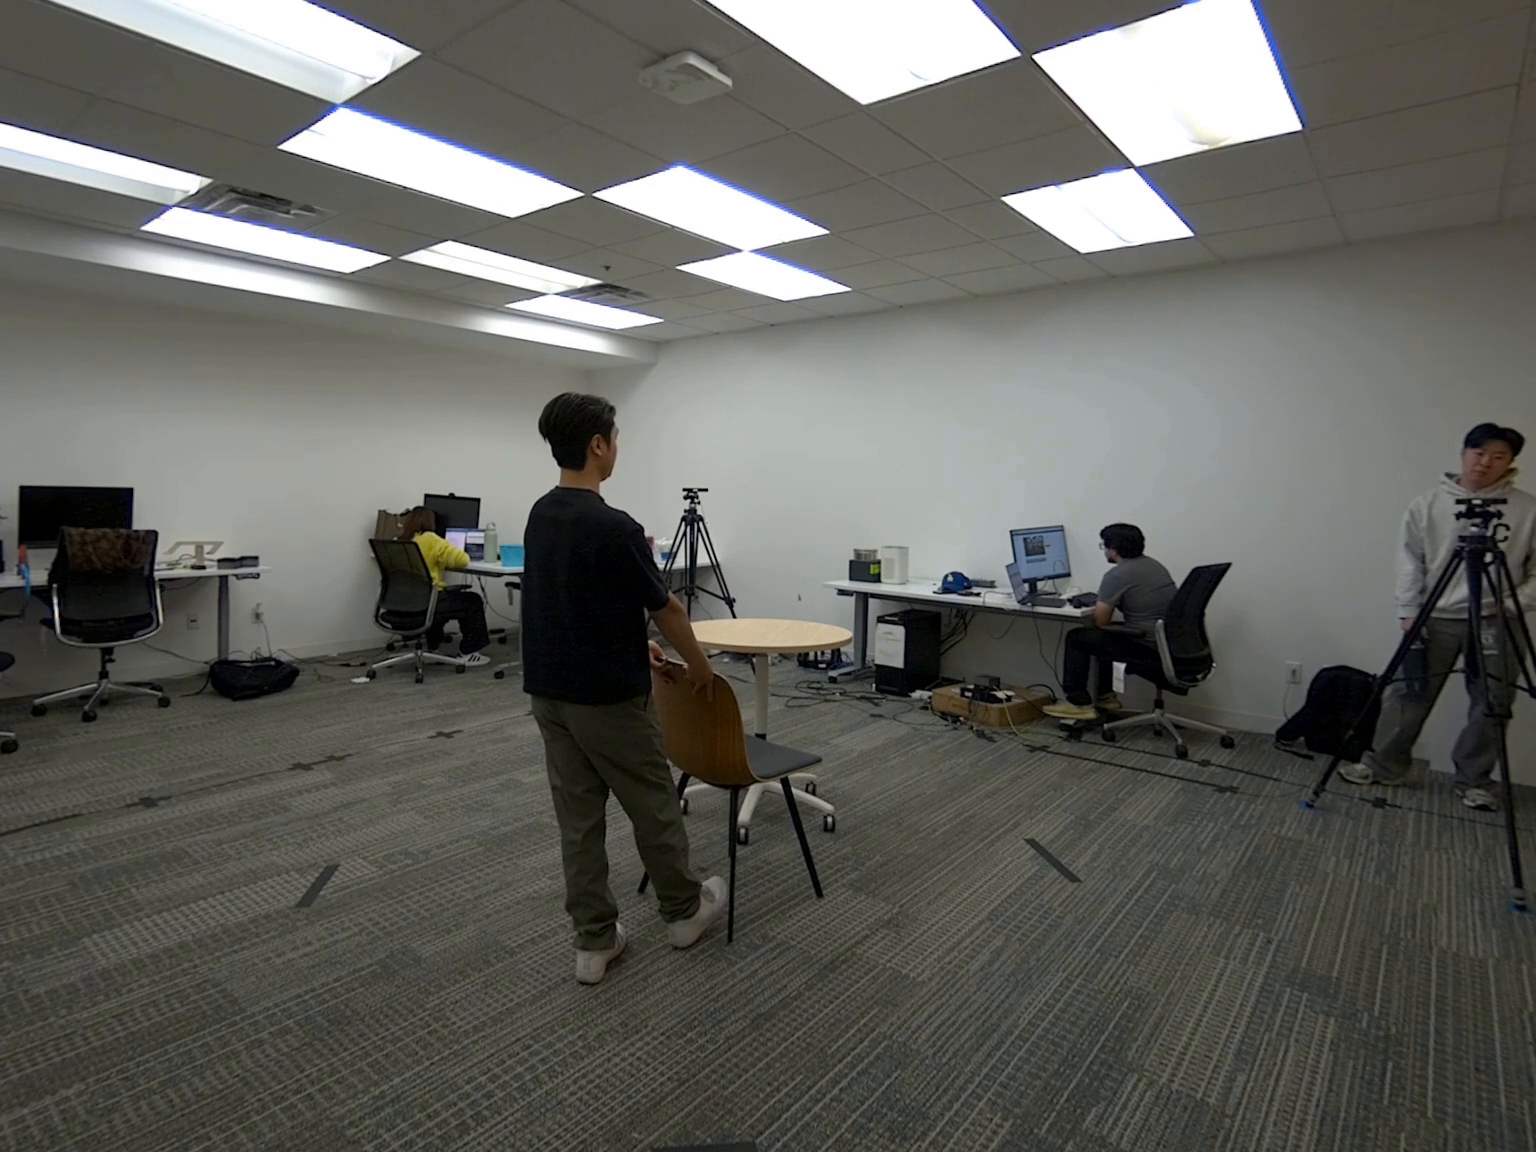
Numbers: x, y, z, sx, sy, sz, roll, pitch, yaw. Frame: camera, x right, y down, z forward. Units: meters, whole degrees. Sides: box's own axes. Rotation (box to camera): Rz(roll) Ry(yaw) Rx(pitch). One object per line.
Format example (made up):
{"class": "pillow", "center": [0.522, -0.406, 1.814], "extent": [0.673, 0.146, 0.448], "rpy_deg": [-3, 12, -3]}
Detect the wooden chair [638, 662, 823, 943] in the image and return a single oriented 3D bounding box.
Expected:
{"class": "wooden chair", "center": [-0.122, 0.663, 2.892], "extent": [0.494, 0.872, 0.509], "rpy_deg": [3, 8, 44]}
